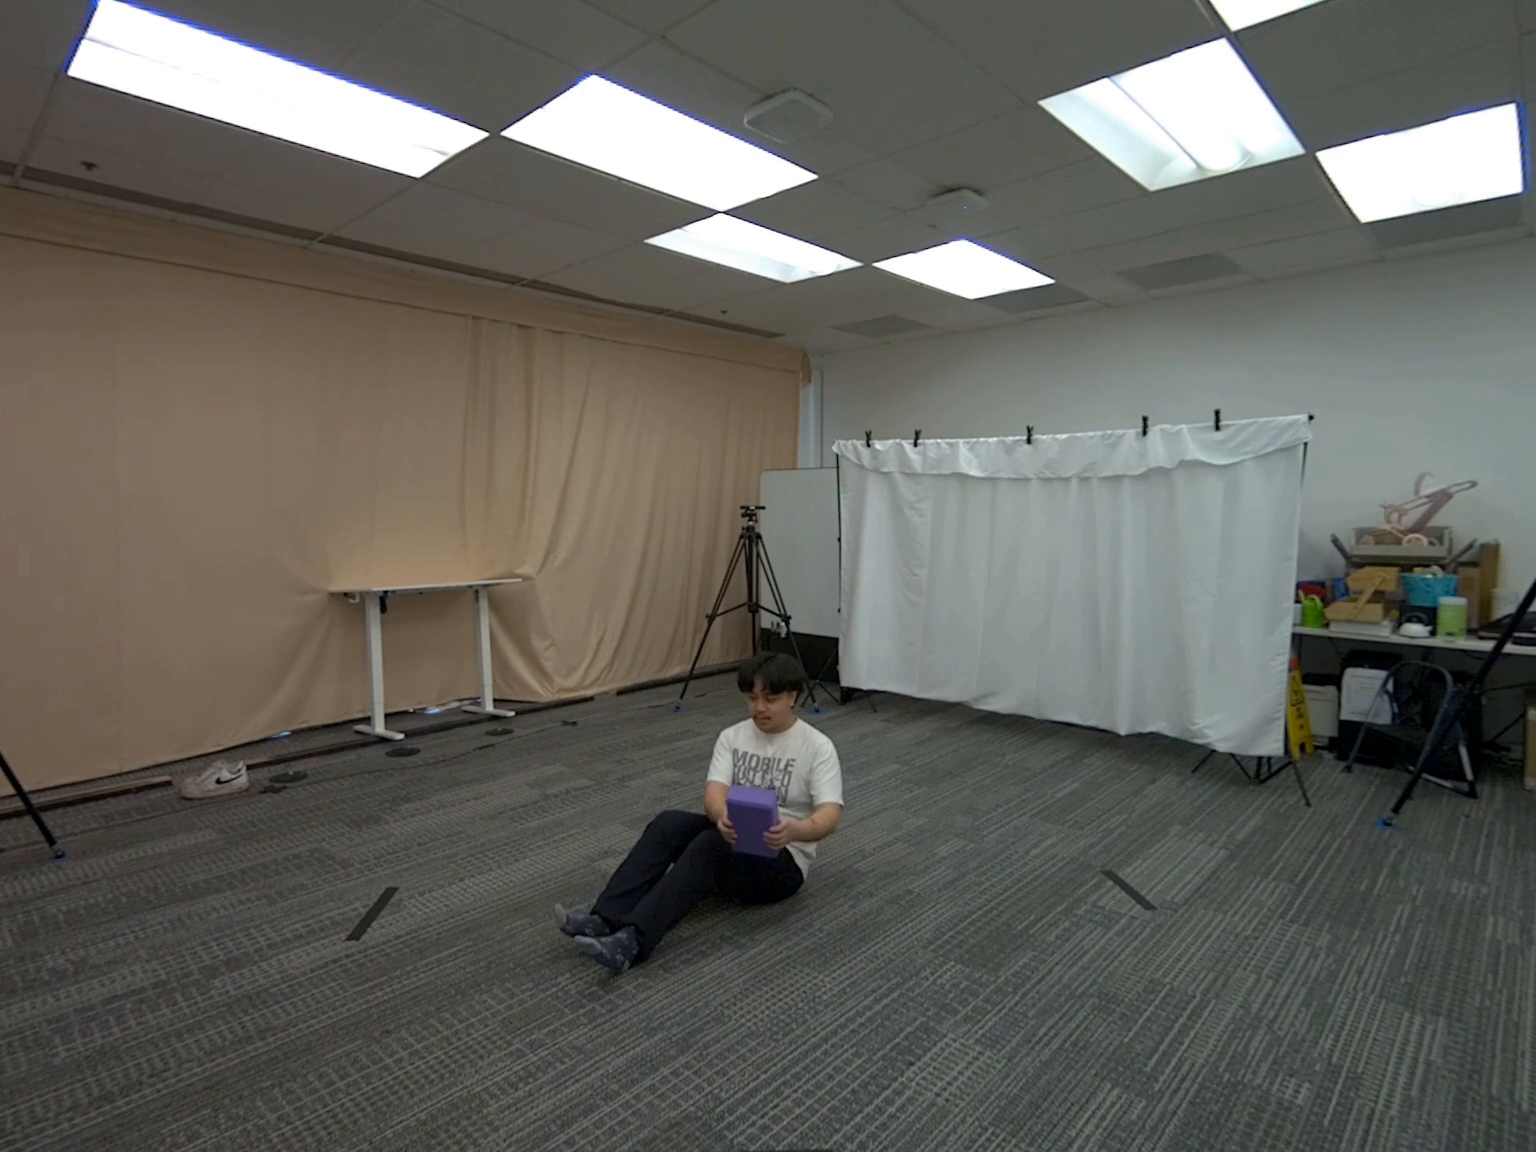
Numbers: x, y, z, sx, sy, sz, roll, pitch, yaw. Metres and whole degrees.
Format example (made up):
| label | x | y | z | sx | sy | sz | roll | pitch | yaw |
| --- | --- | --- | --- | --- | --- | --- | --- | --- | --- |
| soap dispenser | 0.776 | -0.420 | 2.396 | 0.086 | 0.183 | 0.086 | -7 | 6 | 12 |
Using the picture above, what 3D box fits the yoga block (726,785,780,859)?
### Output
| label | x | y | z | sx | sy | sz | roll | pitch | yaw |
| --- | --- | --- | --- | --- | --- | --- | --- | --- | --- |
| yoga block | -0.042 | 0.767 | 2.631 | 0.151 | 0.225 | 0.076 | 3 | 30 | 14 |
